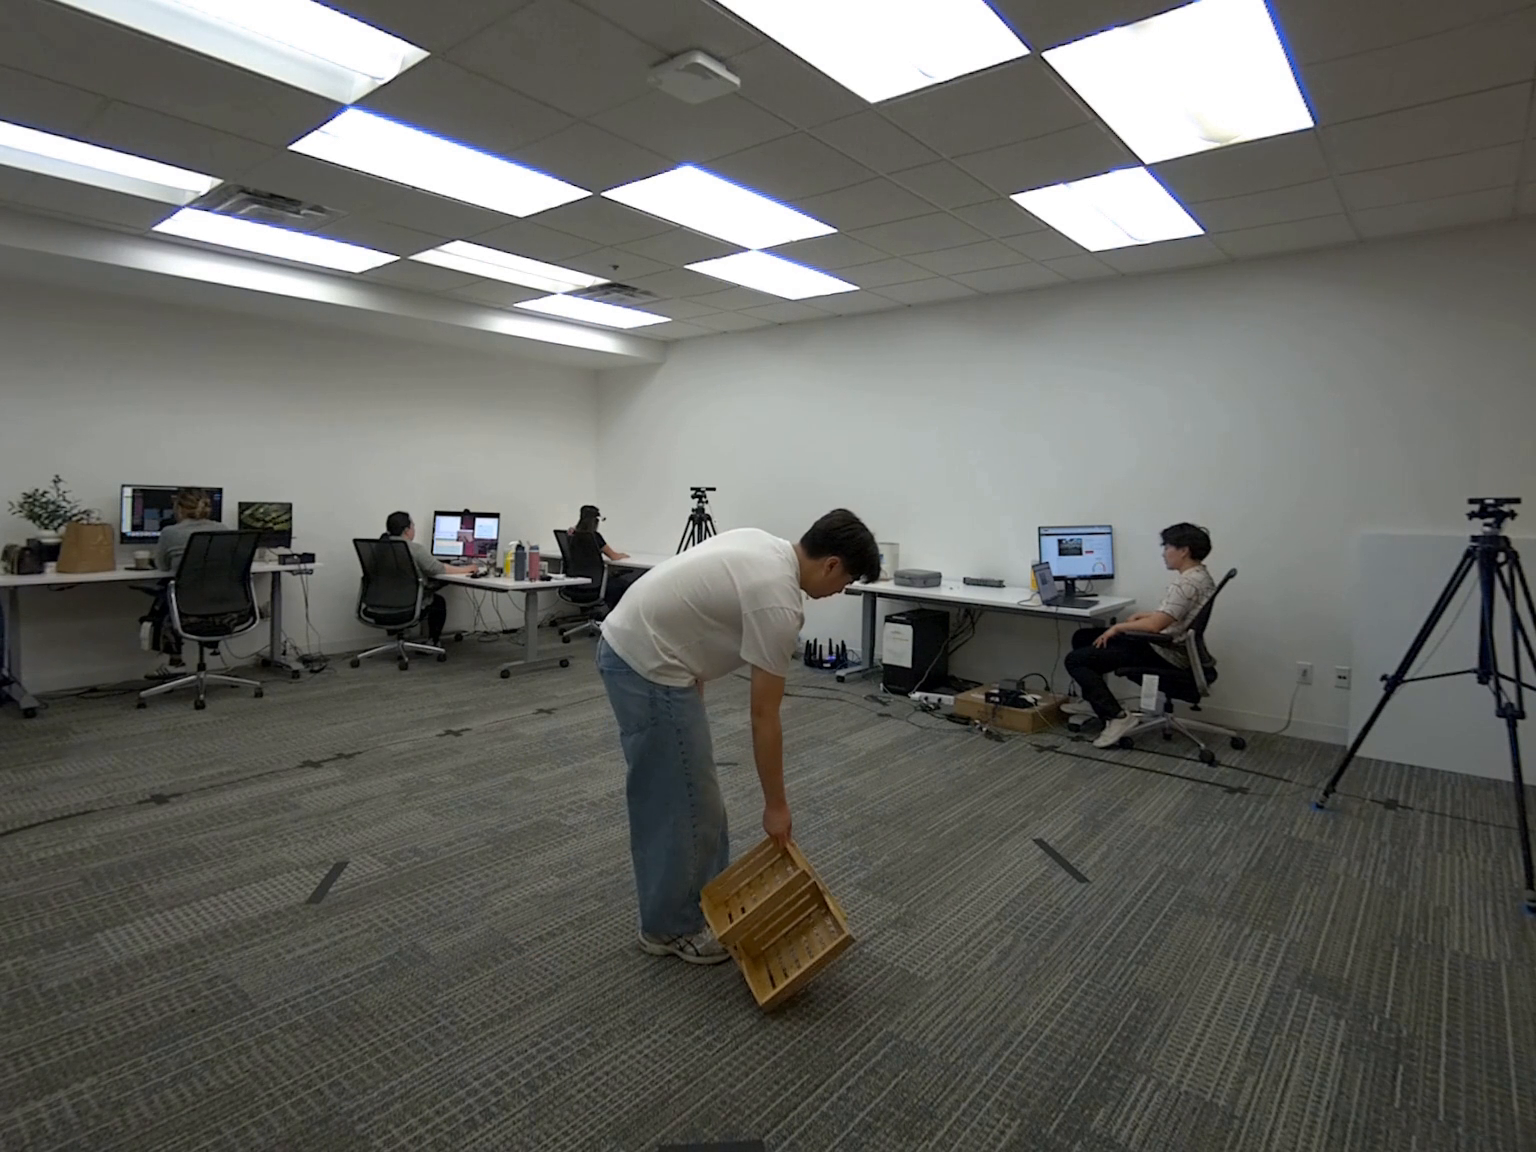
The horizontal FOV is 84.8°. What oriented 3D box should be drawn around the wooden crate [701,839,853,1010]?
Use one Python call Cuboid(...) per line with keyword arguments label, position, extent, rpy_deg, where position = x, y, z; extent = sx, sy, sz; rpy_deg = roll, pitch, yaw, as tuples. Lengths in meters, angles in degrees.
Cuboid(label="wooden crate", position=(0.016, 0.951, 2.371), extent=(0.324, 0.270, 0.306), rpy_deg=(-37, 10, -5))
